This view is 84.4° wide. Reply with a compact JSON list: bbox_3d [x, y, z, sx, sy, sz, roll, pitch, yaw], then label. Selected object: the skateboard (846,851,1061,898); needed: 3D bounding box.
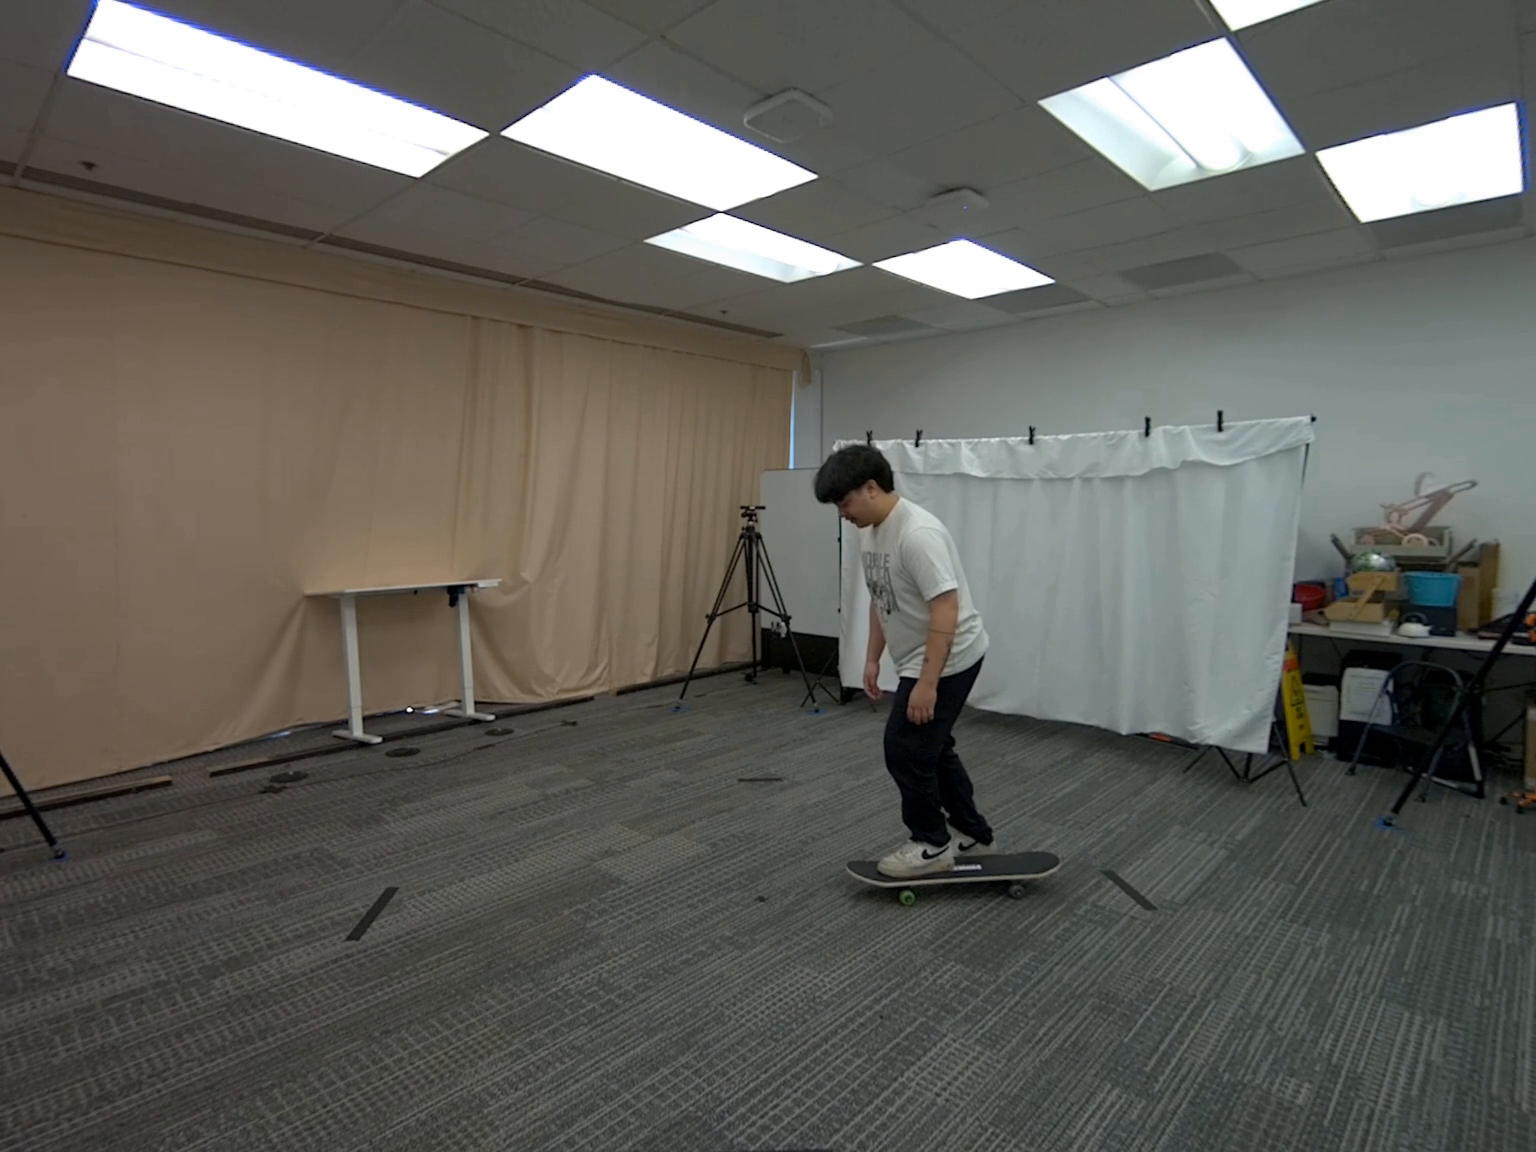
[{"bbox_3d":[0.678,1.082,3.035,0.780,0.110,0.195,-1,4,-7],"label":"skateboard"}]
